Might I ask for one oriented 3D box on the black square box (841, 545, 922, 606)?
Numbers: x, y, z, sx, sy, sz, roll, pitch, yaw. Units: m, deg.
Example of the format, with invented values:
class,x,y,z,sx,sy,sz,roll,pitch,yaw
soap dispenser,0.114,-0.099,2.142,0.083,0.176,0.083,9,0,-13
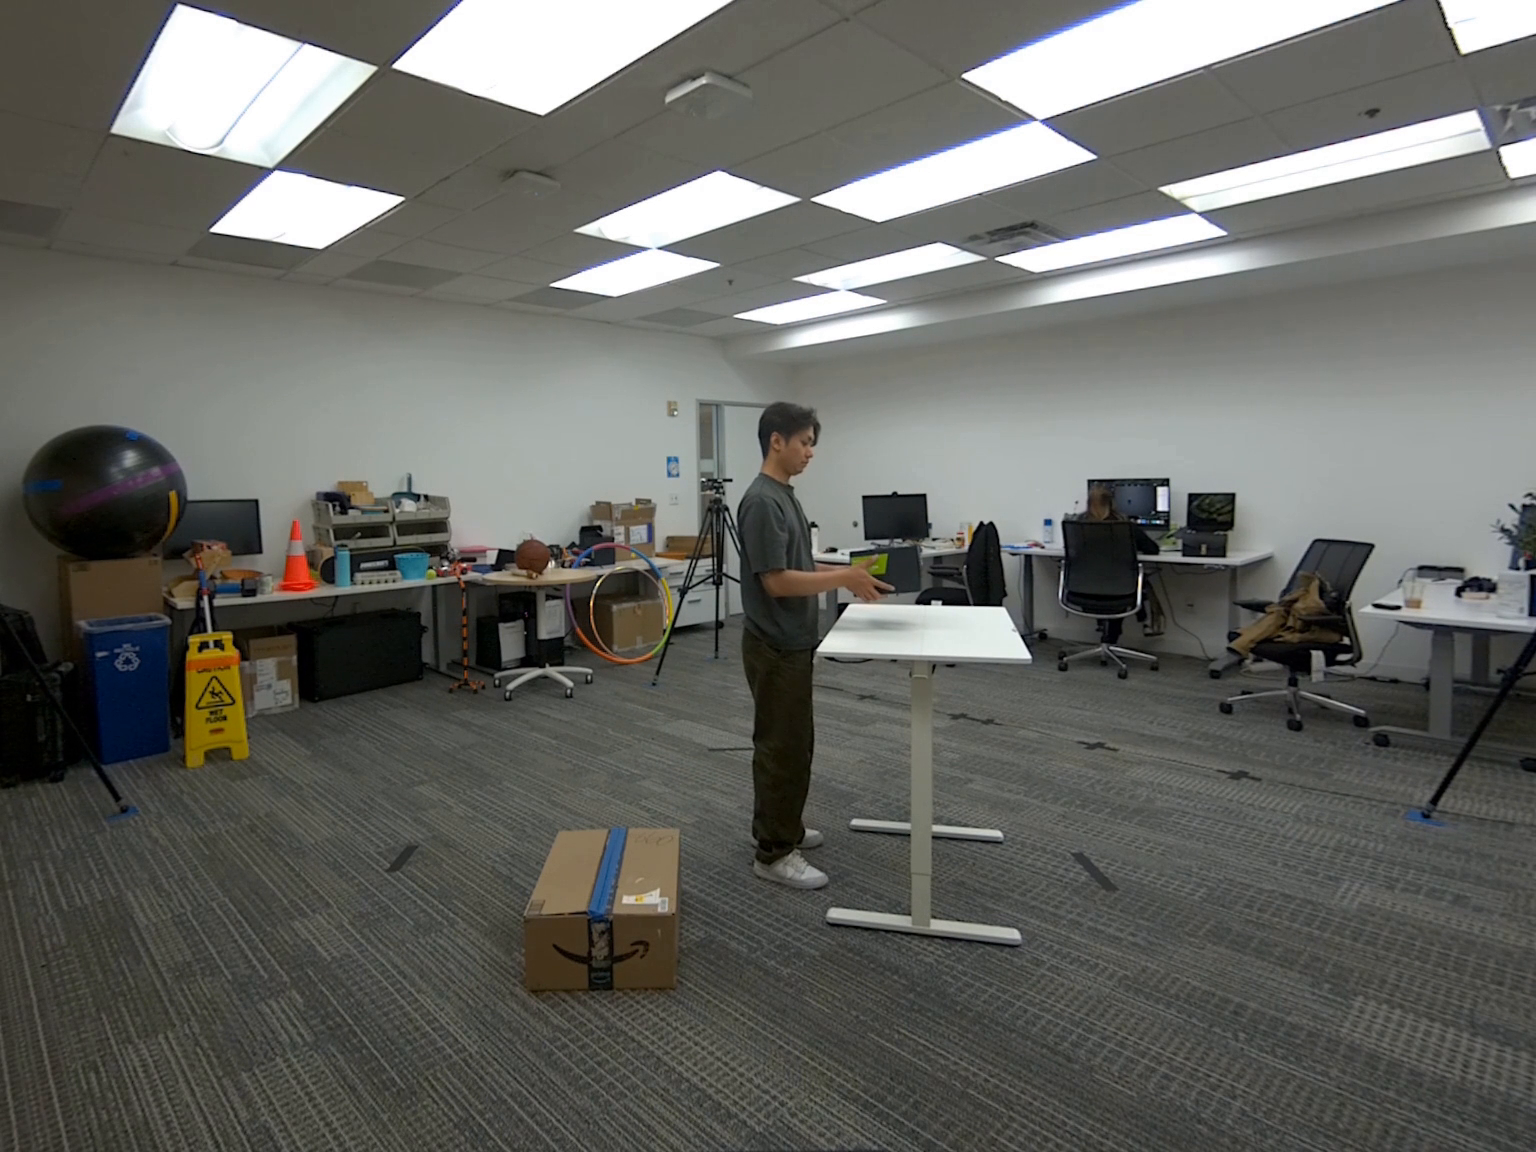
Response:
class,x,y,z,sx,sy,sz,roll,pitch,yaw
black square box,0.412,-0.020,2.958,0.230,0.156,0.215,-5,1,11
